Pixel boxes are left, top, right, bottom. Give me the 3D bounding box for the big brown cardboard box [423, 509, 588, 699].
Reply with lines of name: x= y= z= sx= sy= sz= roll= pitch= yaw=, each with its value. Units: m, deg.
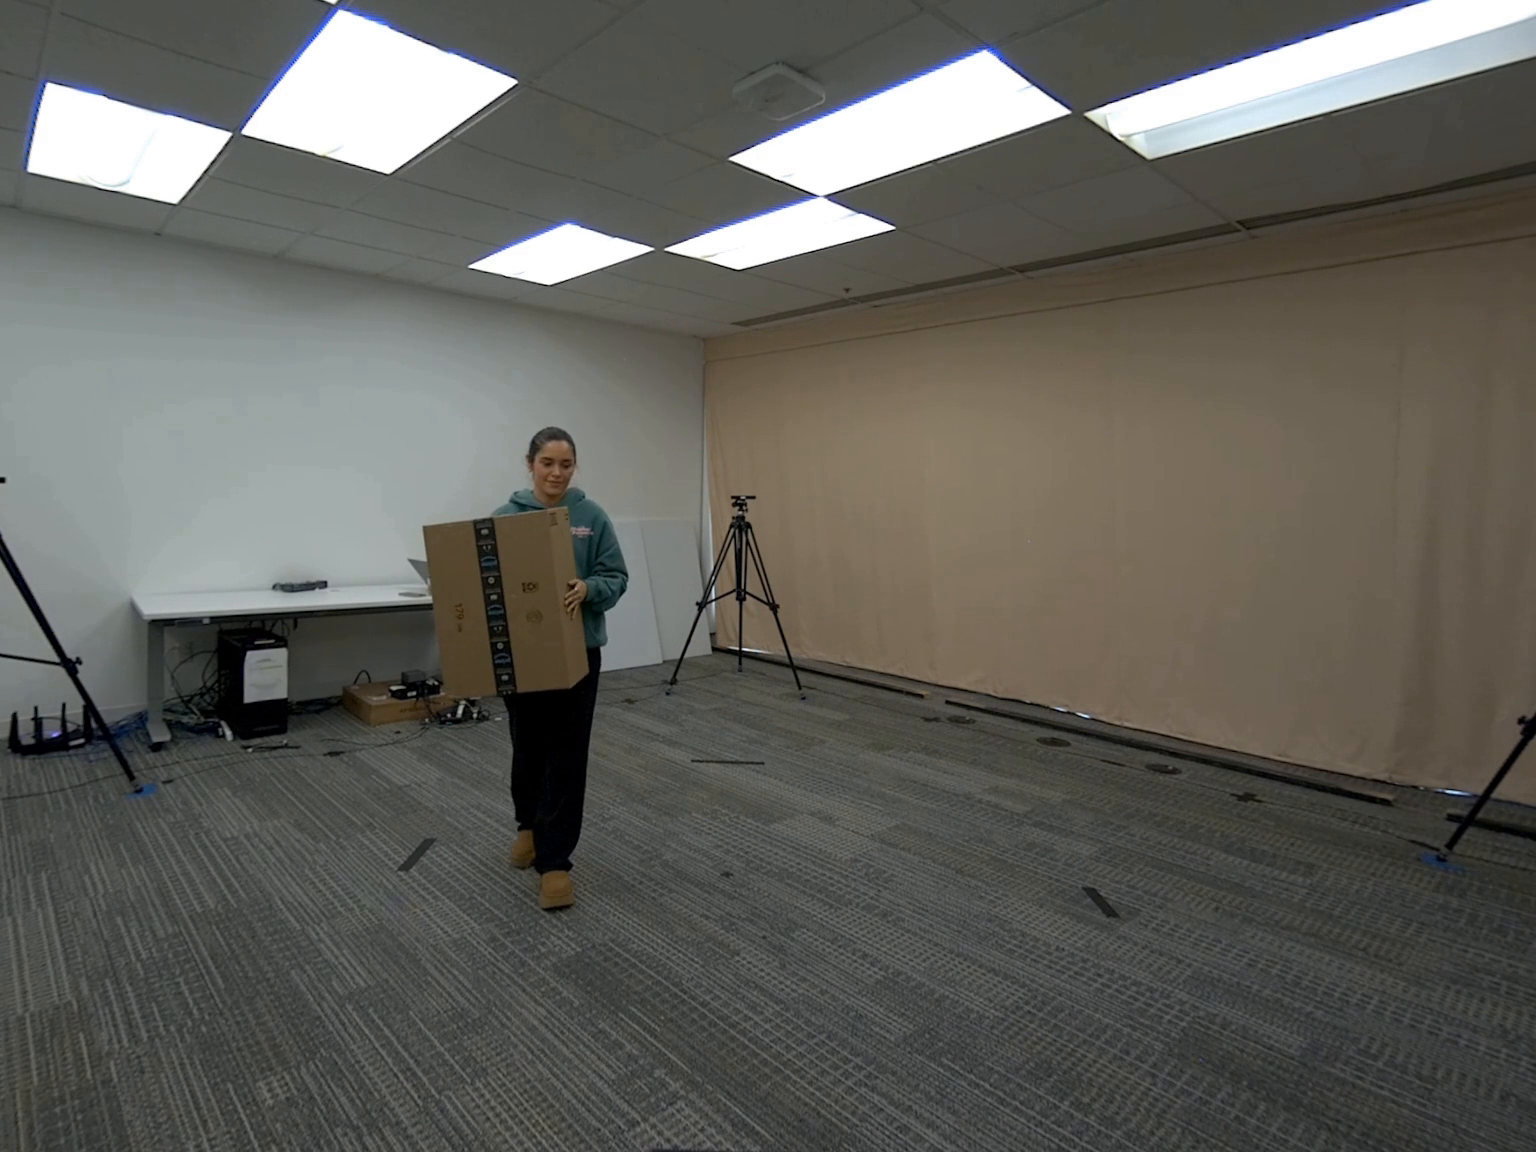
big brown cardboard box: x=-0.859 y=0.091 z=2.748 sx=0.420 sy=0.586 sz=0.233 roll=-6 pitch=5 yaw=7
